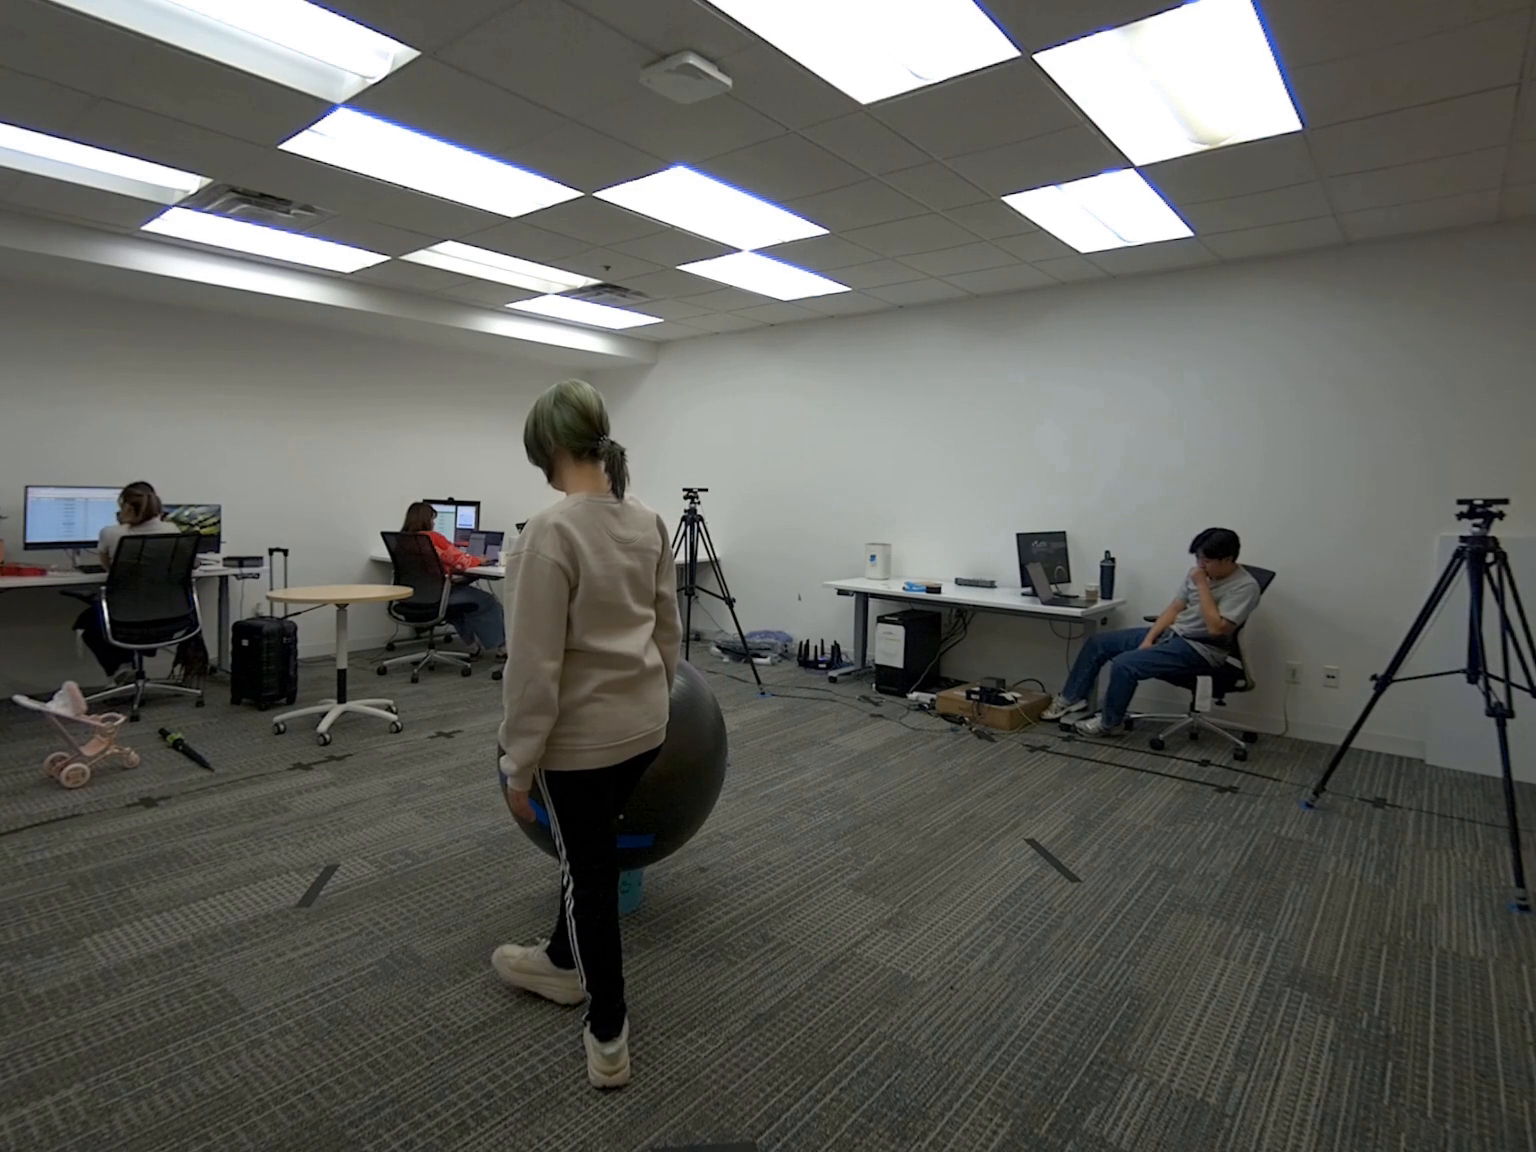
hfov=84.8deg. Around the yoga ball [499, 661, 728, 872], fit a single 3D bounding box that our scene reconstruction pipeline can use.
[{"bbox_3d":[-0.521,0.579,2.832,0.757,0.755,0.762,1,4,-2],"label":"yoga ball"}]
